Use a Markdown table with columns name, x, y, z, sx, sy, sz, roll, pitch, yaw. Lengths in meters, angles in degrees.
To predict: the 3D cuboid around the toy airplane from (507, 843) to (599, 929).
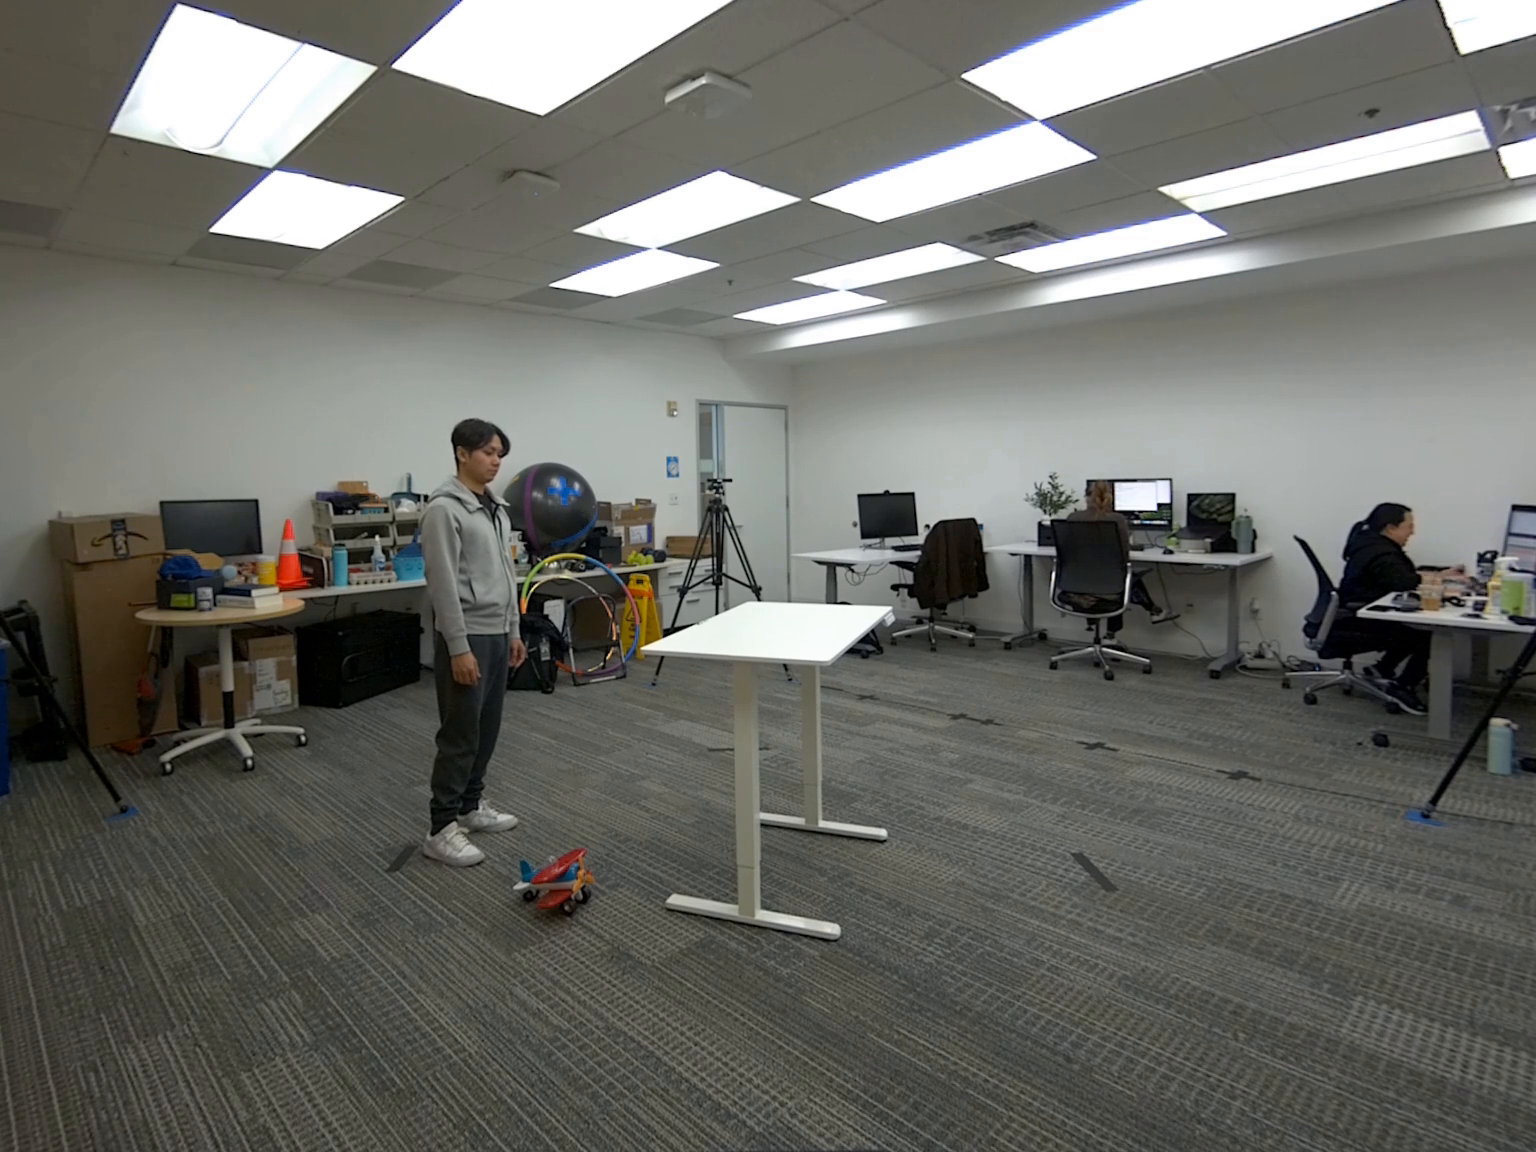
| name | x | y | z | sx | sy | sz | roll | pitch | yaw |
| --- | --- | --- | --- | --- | --- | --- | --- | --- | --- |
| toy airplane | -0.703 | 1.013 | 2.820 | 0.258 | 0.156 | 0.253 | -1 | 6 | -5 |
